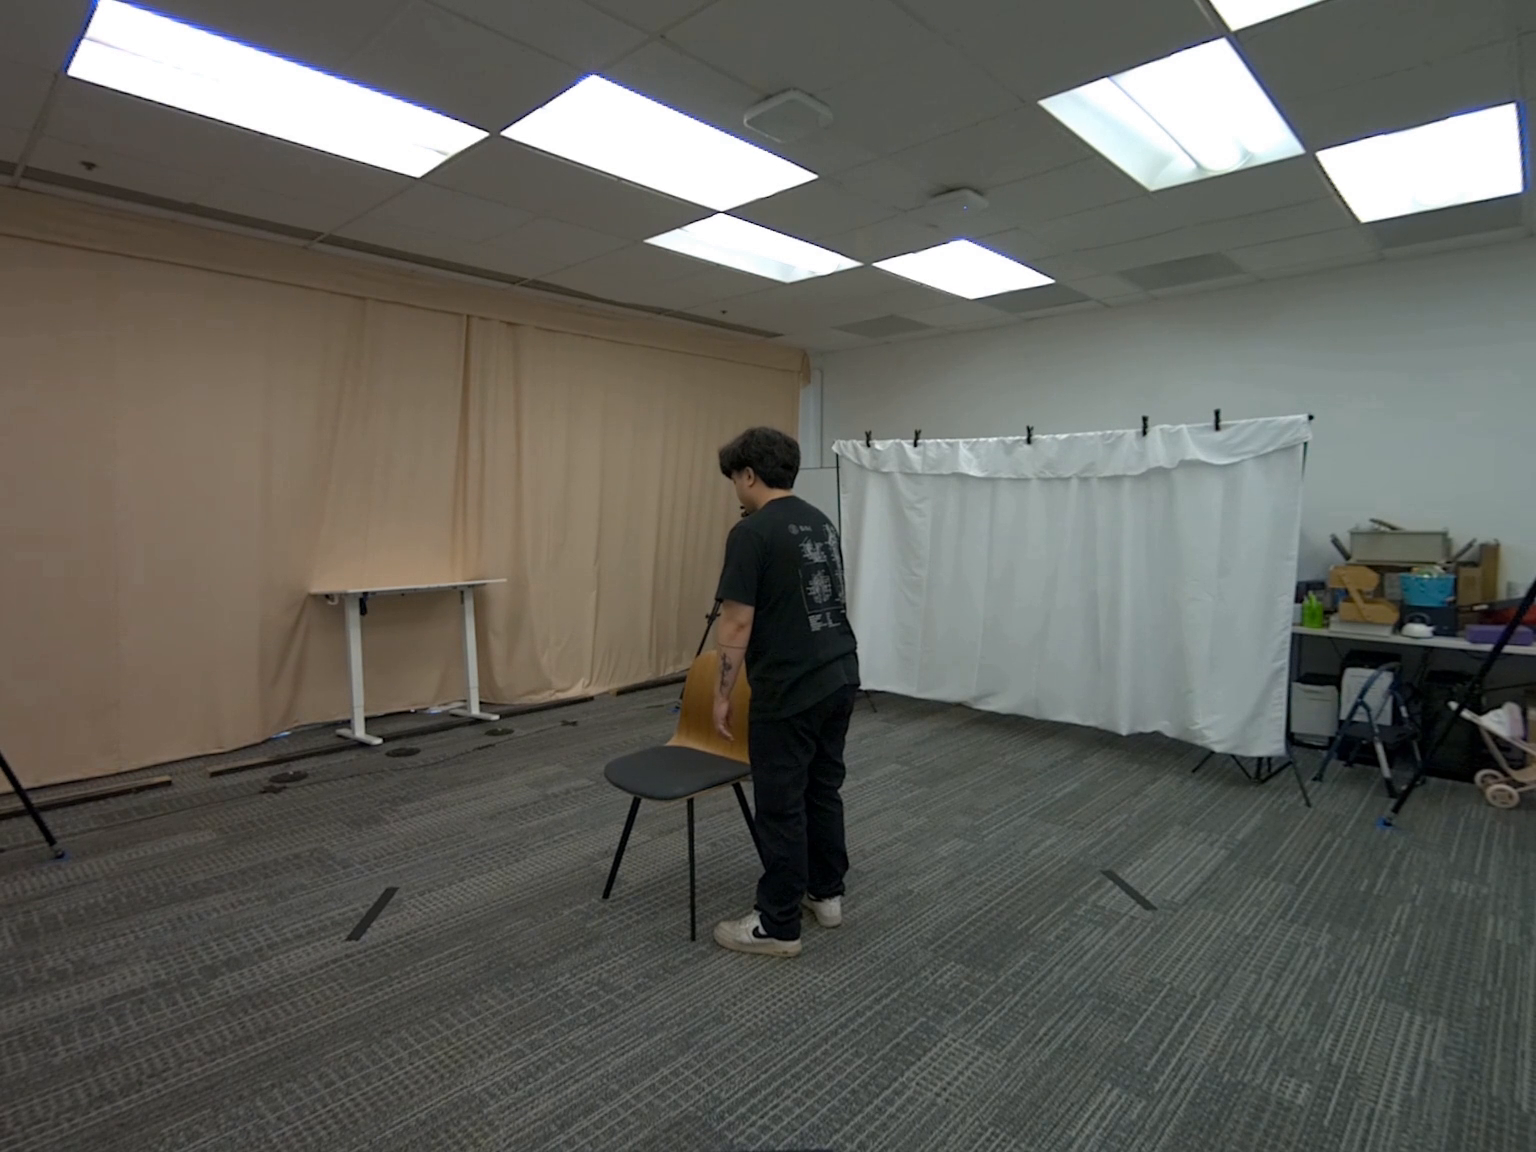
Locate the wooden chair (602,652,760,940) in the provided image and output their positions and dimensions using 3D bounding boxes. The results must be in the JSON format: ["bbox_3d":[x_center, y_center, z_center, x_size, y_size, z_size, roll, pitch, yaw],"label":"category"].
[{"bbox_3d":[-0.276,0.719,2.978,0.494,0.877,0.506,3,0,41],"label":"wooden chair"}]
